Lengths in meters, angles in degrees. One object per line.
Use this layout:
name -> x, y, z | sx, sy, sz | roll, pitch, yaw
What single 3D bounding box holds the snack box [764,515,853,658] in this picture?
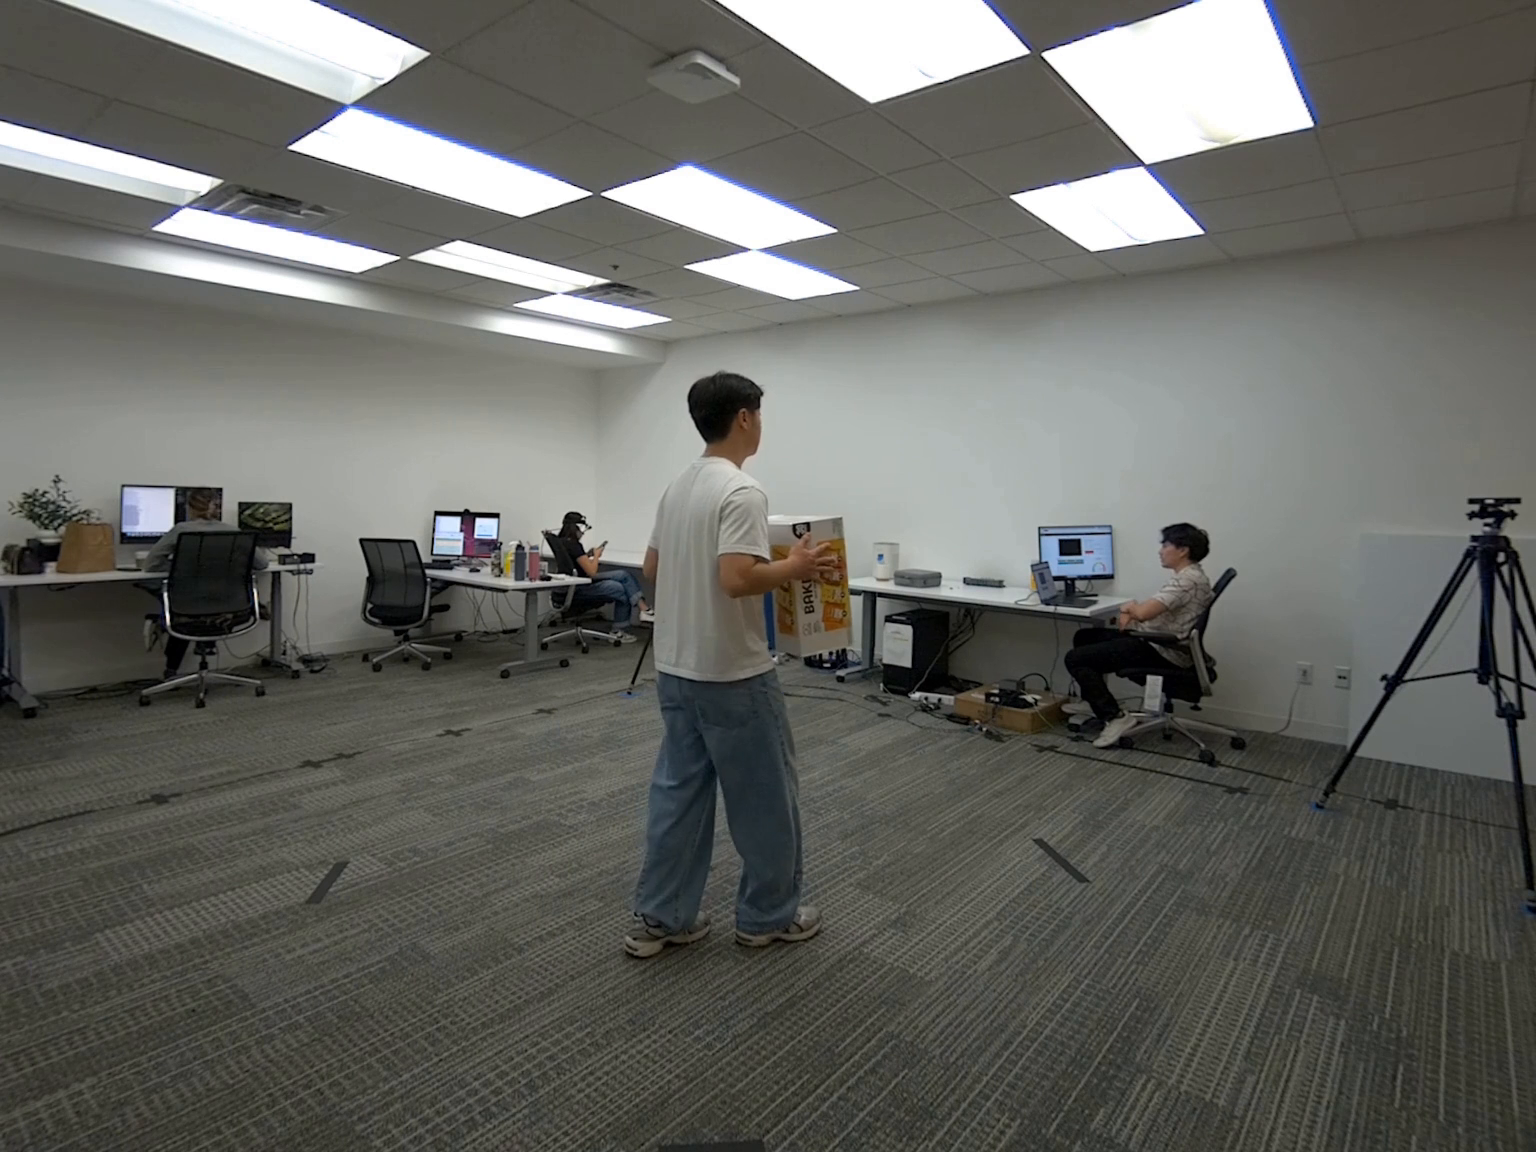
snack box -> 0.067, 0.015, 2.719 | 0.201, 0.403, 0.350 | -8, 7, -31
